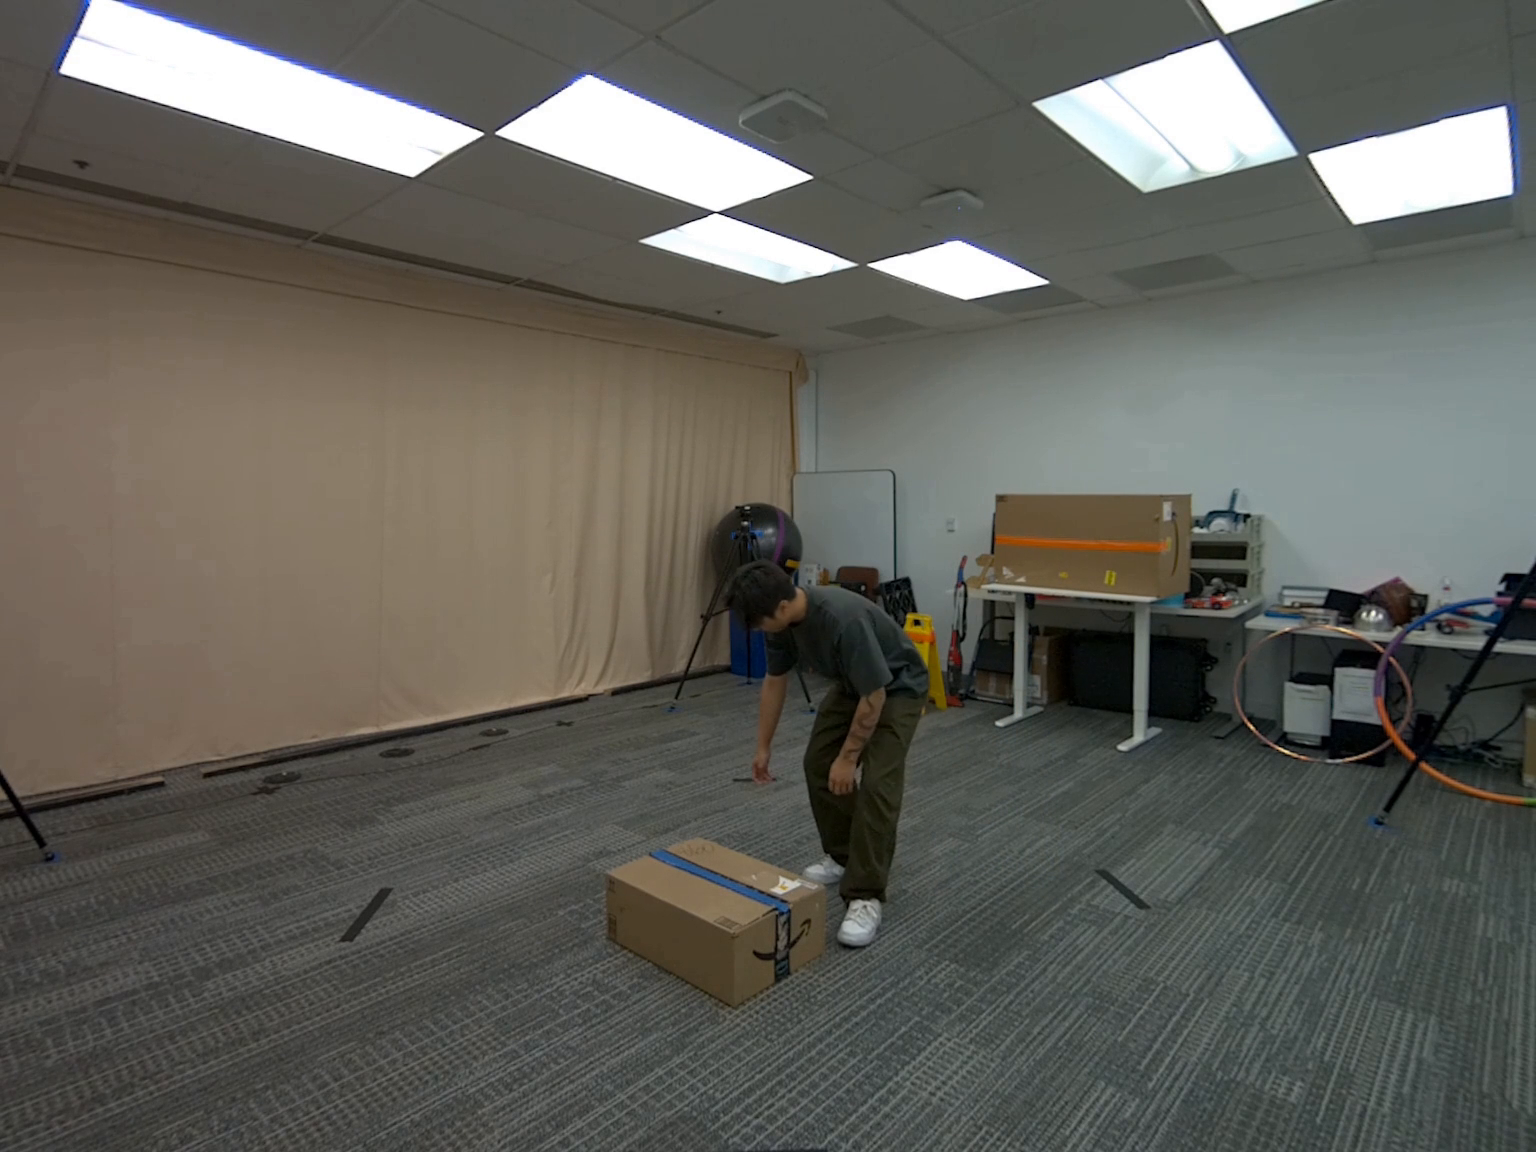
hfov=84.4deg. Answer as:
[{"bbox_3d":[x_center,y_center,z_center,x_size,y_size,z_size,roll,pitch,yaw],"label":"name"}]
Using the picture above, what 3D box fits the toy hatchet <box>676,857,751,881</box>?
[{"bbox_3d":[-0.214,1.122,3.249,0.268,0.029,0.132,1,1,-8],"label":"toy hatchet"}]
